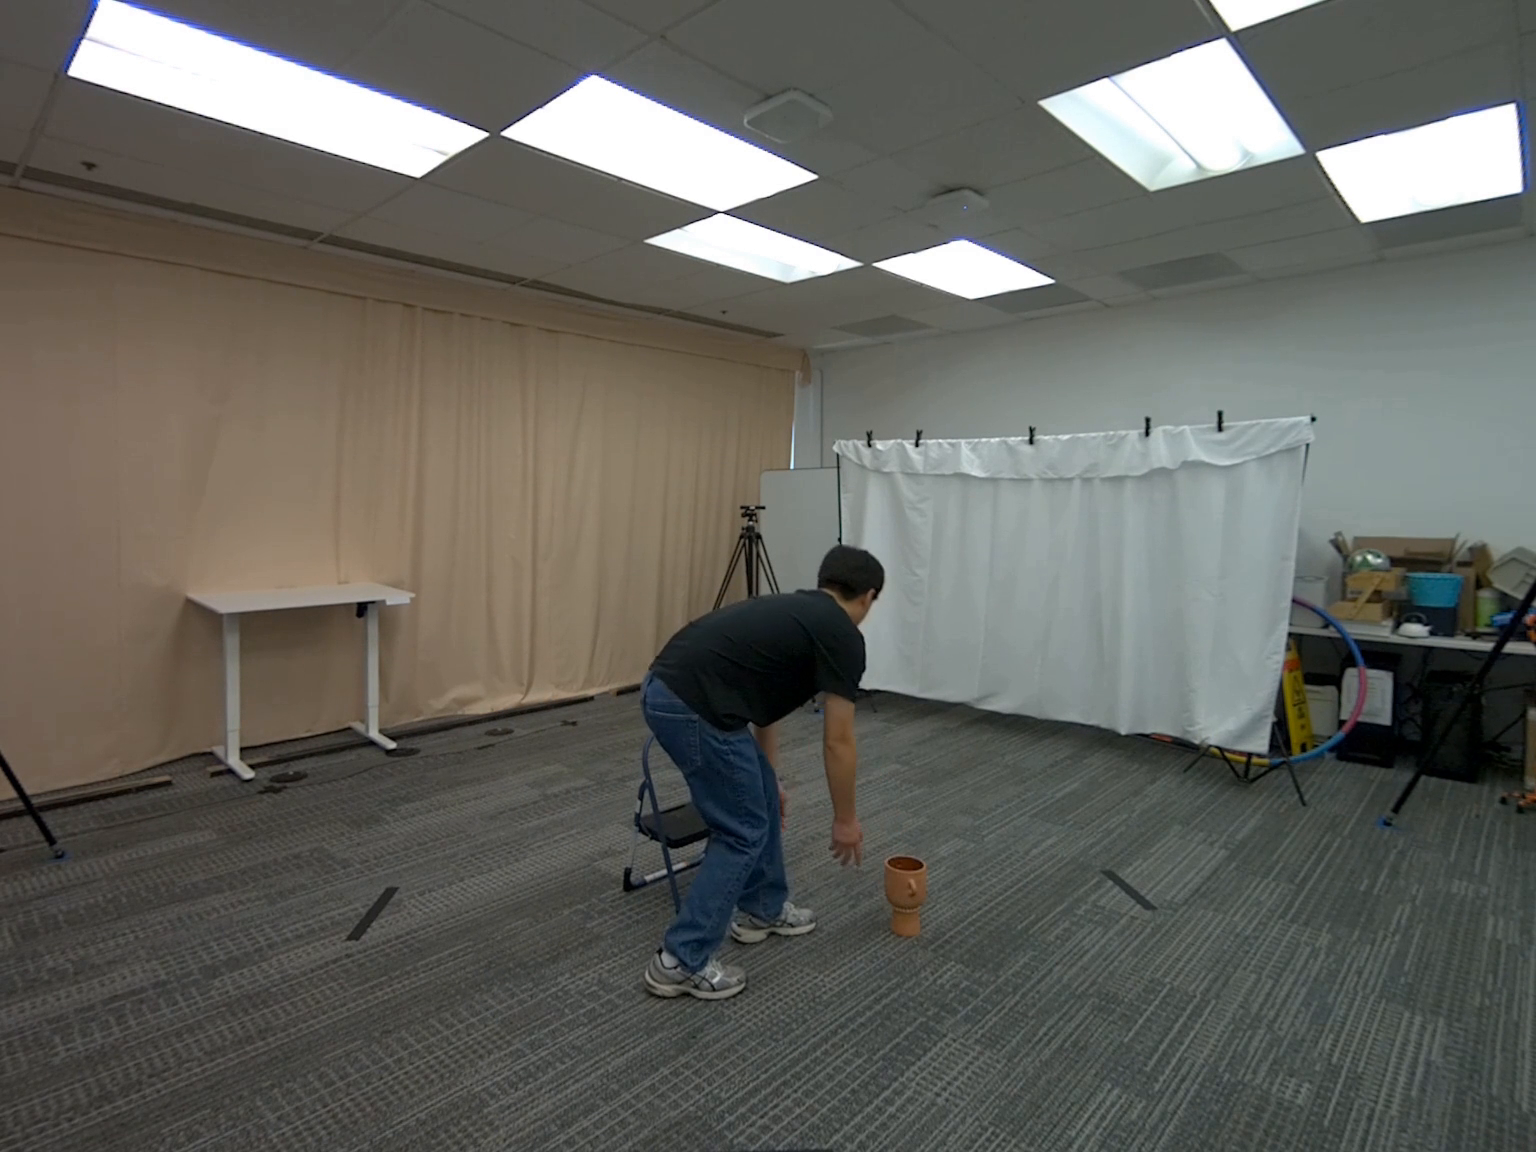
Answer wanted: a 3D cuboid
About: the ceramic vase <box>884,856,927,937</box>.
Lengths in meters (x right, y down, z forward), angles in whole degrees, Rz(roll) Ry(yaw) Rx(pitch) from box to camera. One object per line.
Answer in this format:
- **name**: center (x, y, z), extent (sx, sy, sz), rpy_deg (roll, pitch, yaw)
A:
- **ceramic vase**: center (0.453, 1.052, 2.751), extent (0.139, 0.219, 0.154), rpy_deg (2, 5, 32)
